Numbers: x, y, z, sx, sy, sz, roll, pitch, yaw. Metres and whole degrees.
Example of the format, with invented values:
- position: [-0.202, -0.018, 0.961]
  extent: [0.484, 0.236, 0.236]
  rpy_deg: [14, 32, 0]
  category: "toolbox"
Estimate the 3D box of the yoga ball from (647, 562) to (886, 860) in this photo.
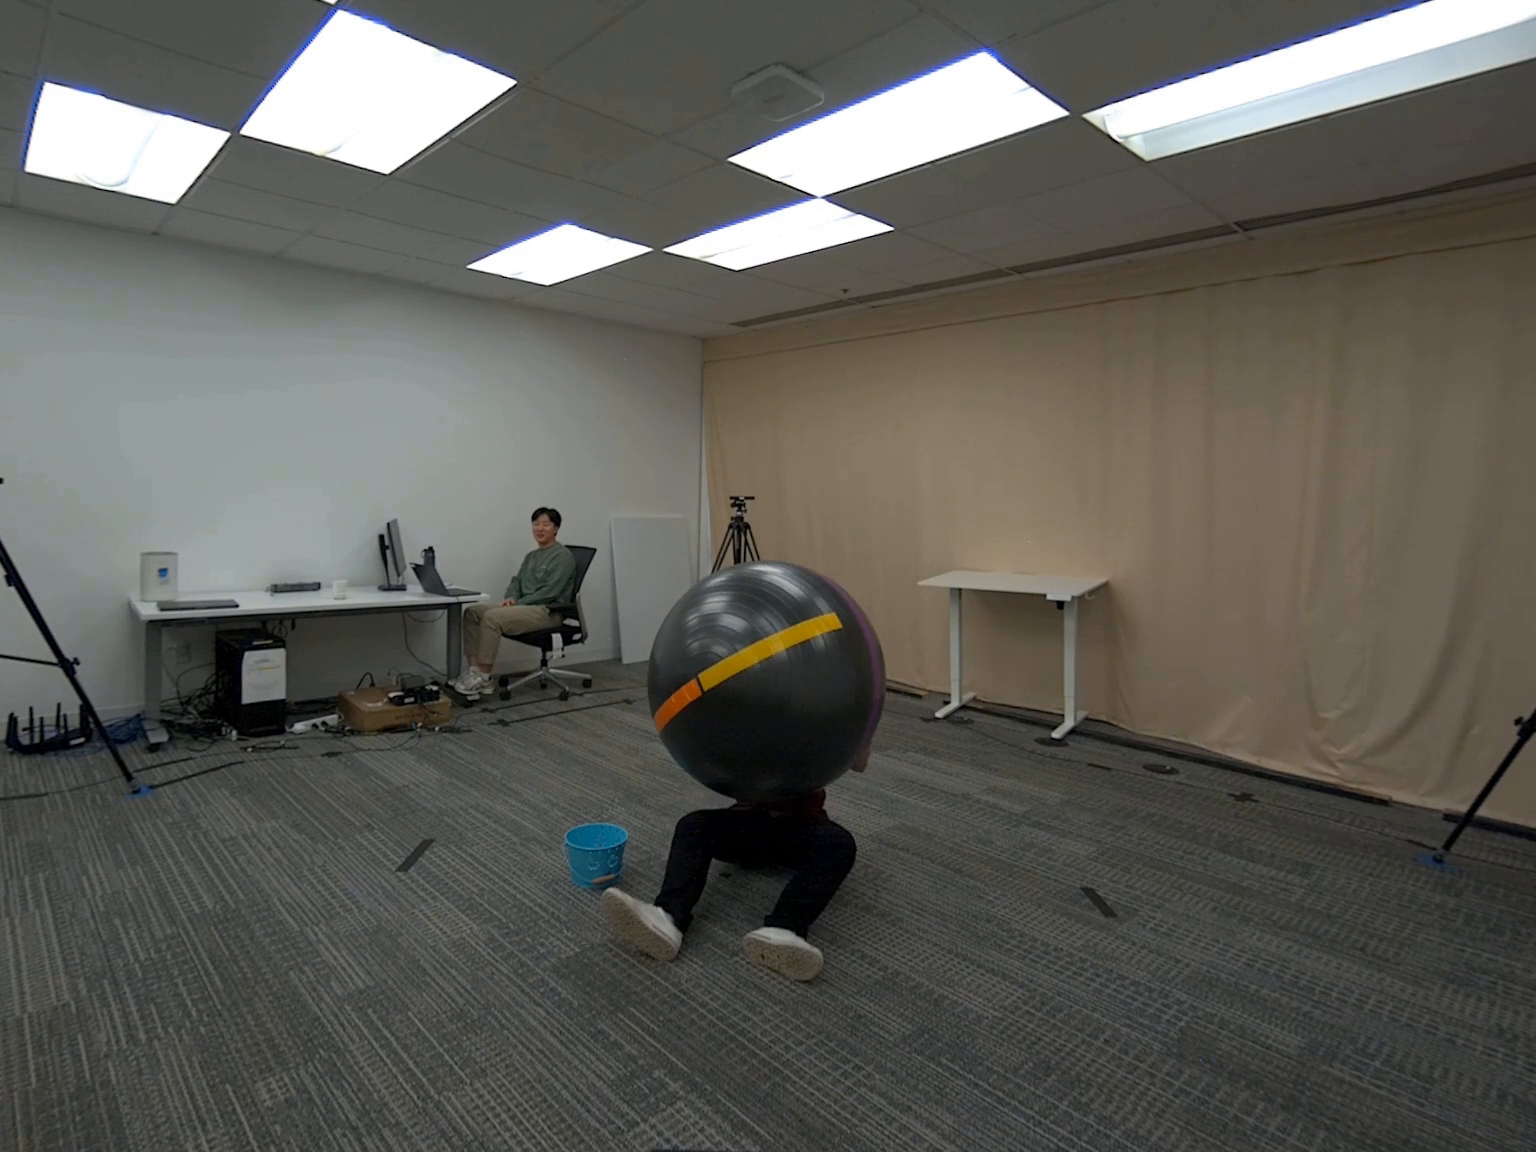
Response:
- position: [-0.021, 0.334, 2.681]
  extent: [0.757, 0.756, 0.761]
  rpy_deg: [1, 4, -1]
  category: "yoga ball"
